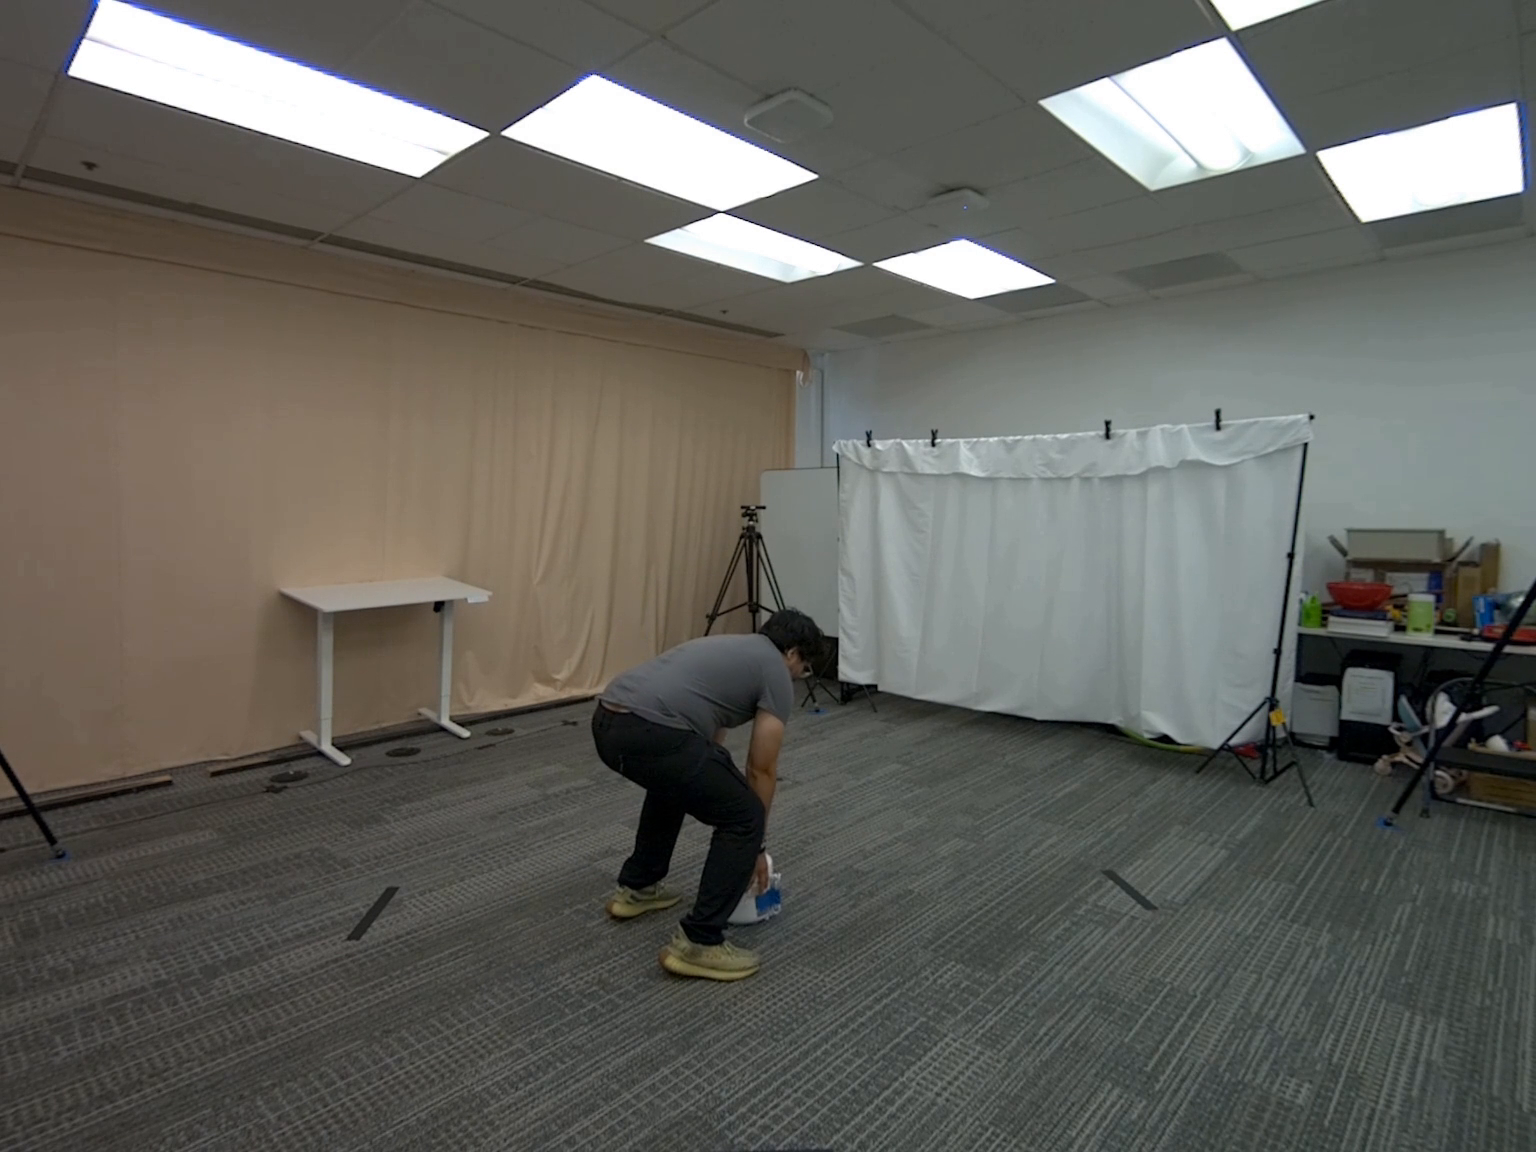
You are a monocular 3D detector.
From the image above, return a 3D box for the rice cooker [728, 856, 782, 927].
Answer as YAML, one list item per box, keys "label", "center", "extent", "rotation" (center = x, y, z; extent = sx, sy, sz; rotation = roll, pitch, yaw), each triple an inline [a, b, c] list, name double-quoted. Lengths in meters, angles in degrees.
- label: "rice cooker"
  center: [-0.083, 1.044, 2.866]
  extent: [0.212, 0.232, 0.227]
  rotation: [0, 2, -29]
